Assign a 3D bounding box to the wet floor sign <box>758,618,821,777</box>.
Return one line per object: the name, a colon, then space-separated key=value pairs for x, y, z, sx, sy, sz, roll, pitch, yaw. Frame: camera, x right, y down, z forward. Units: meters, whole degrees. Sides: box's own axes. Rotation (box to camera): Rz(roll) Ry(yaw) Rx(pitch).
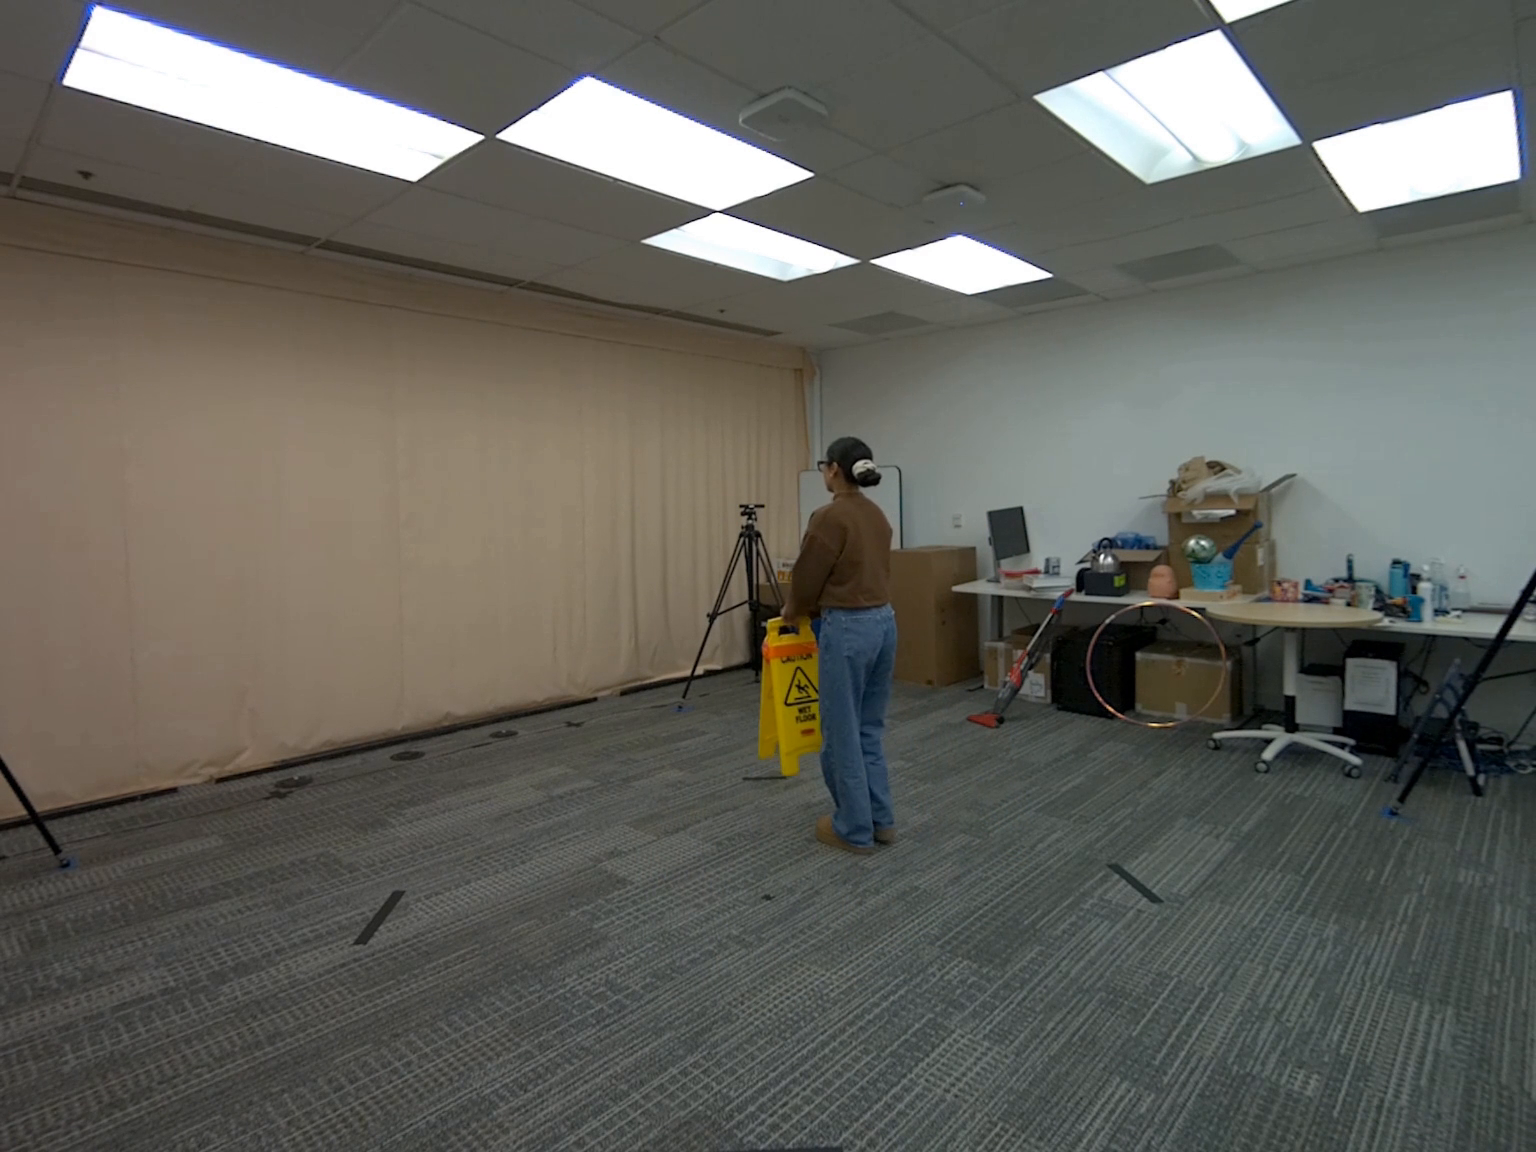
wet floor sign: x=0.117 y=0.504 z=3.702 sx=0.276 sy=0.644 sz=0.297 roll=-6 pitch=5 yaw=-23
